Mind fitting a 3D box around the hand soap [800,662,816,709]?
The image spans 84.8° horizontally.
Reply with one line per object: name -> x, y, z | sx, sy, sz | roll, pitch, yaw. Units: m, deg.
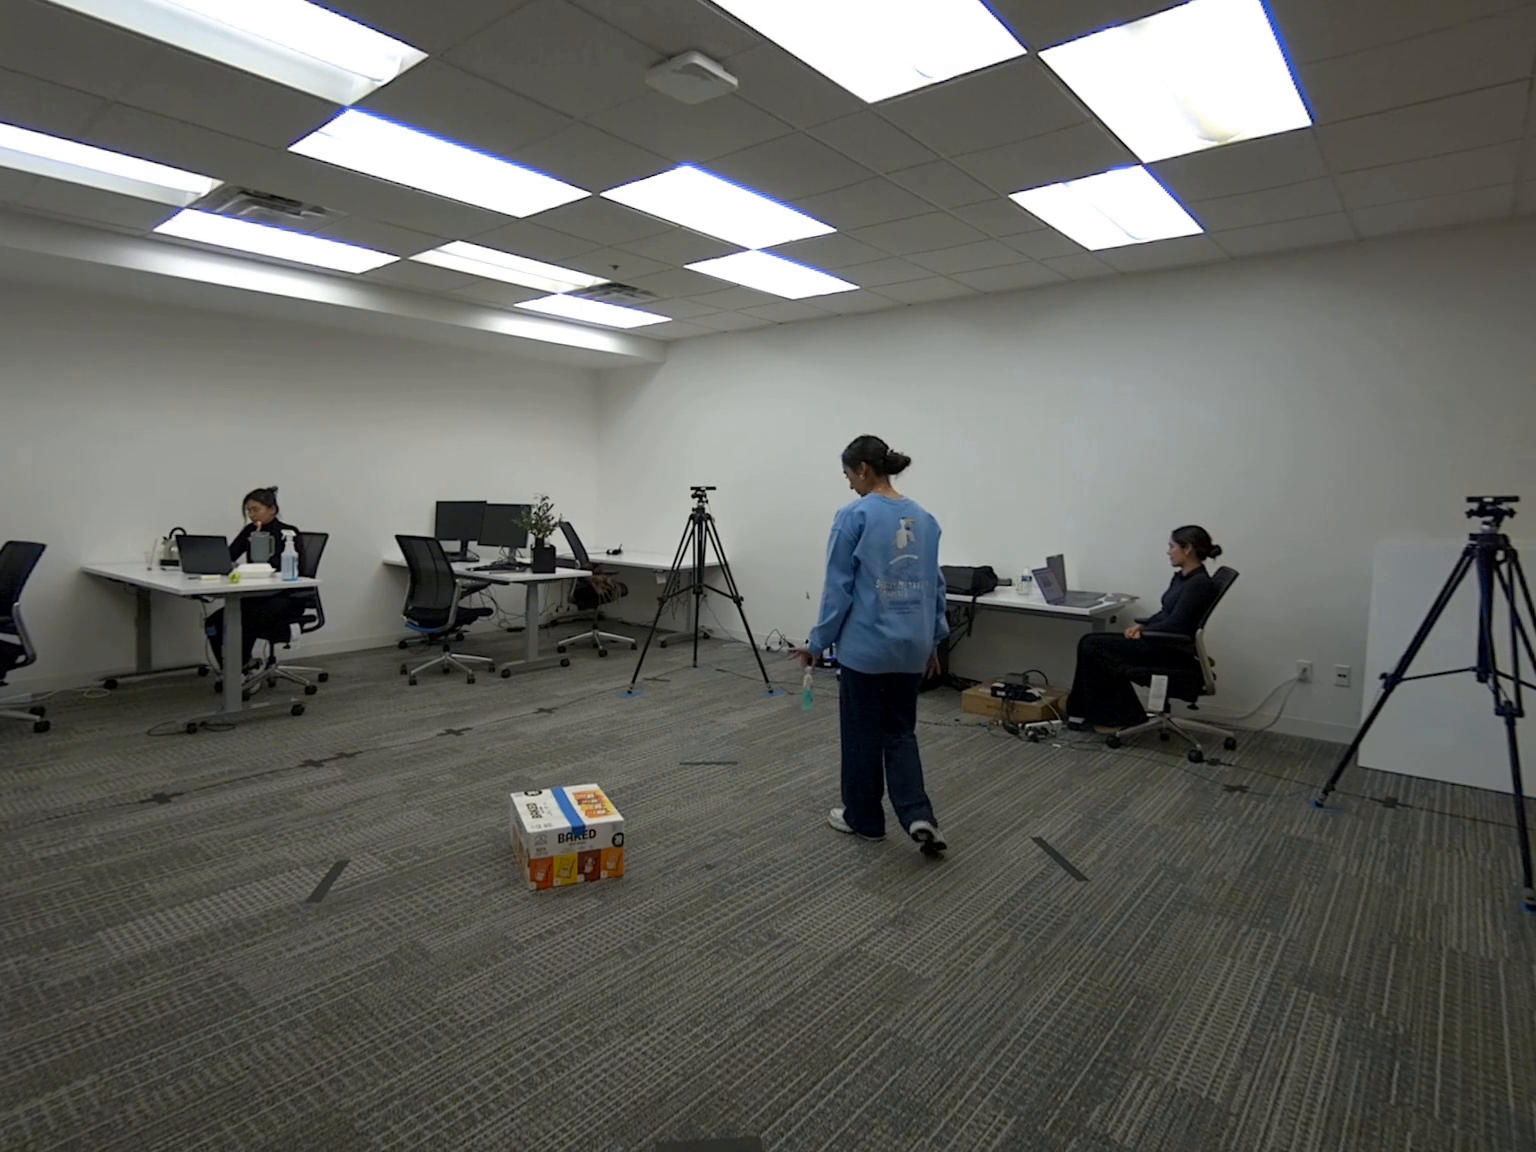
hand soap -> 0.162, 0.439, 3.418 | 0.044, 0.167, 0.084 | 3, 6, 11
